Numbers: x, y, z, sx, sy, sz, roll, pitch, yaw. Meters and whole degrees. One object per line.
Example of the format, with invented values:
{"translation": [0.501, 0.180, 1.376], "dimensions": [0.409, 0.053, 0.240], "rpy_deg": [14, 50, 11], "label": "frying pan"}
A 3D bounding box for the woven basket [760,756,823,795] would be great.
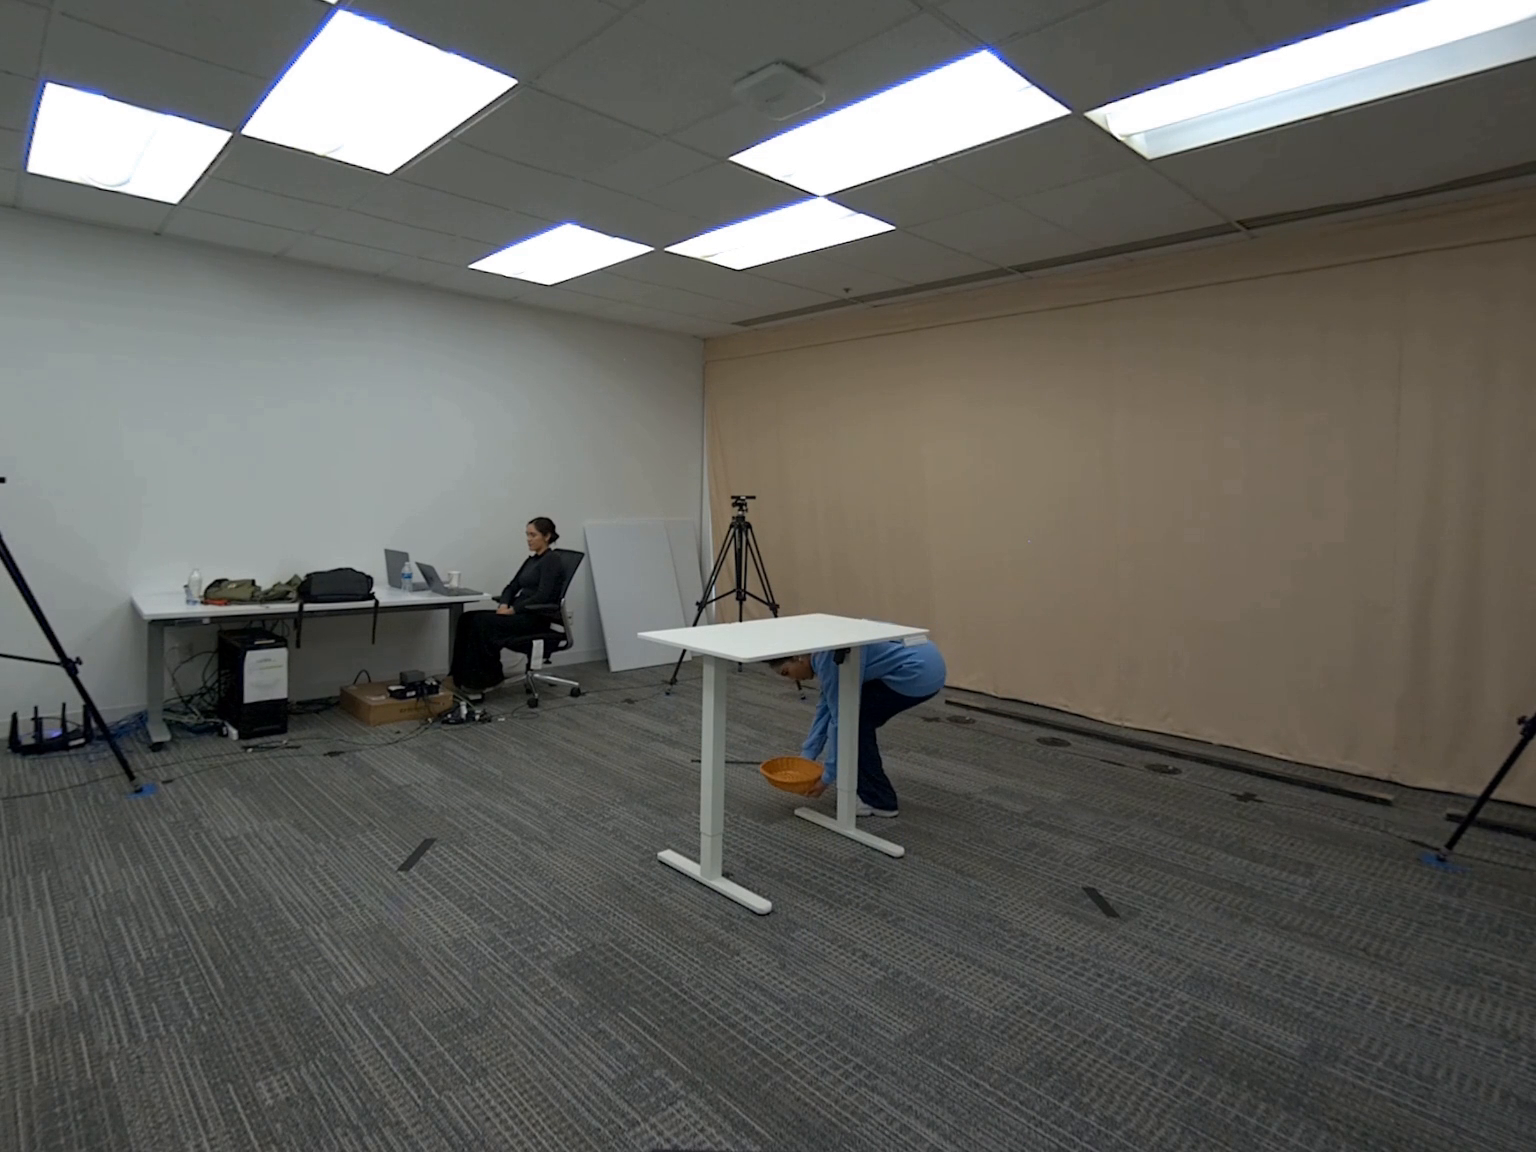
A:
{"translation": [0.100, 0.884, 3.724], "dimensions": [0.249, 0.073, 0.357], "rpy_deg": [-8, 8, -21], "label": "woven basket"}
